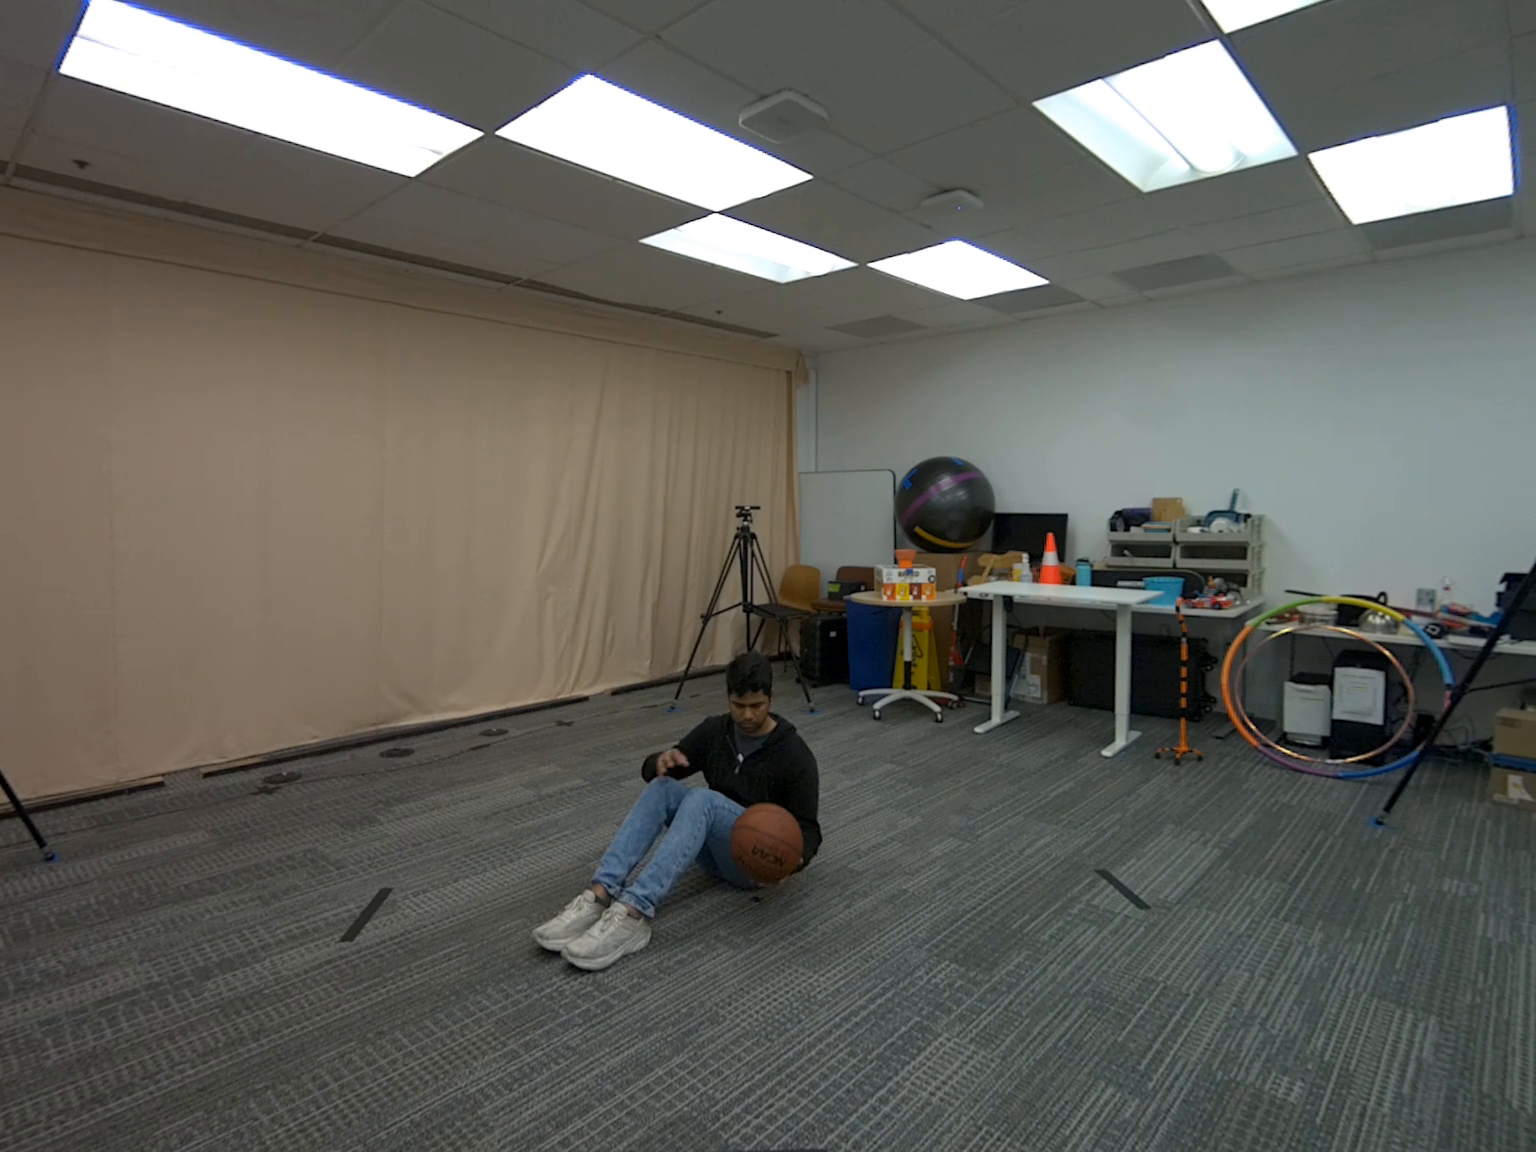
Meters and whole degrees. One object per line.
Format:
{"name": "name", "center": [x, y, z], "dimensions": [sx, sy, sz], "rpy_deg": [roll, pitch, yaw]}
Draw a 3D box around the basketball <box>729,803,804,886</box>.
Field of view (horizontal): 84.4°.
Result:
{"name": "basketball", "center": [-0.006, 0.854, 2.706], "dimensions": [0.236, 0.235, 0.237], "rpy_deg": [0, 4, -2]}
